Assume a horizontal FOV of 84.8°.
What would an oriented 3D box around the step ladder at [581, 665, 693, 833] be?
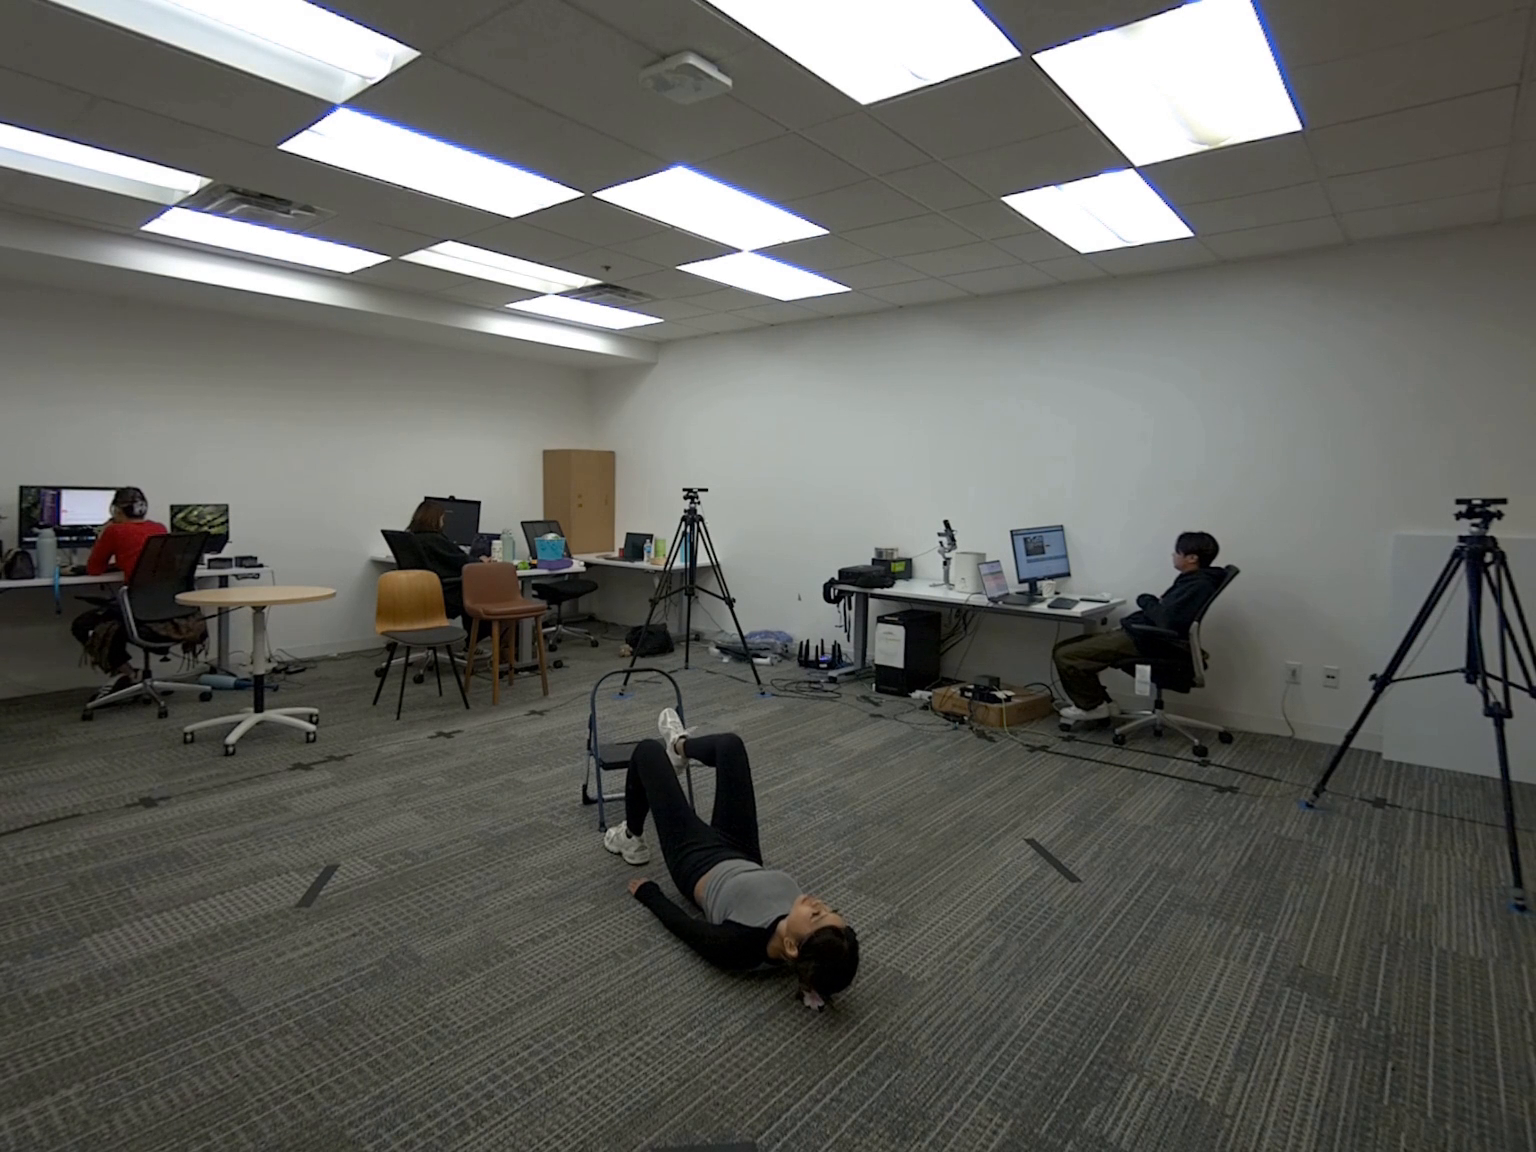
[{"bbox_3d":[-0.570,0.710,3.653,0.420,0.604,0.359,-1,4,-25],"label":"step ladder"}]
